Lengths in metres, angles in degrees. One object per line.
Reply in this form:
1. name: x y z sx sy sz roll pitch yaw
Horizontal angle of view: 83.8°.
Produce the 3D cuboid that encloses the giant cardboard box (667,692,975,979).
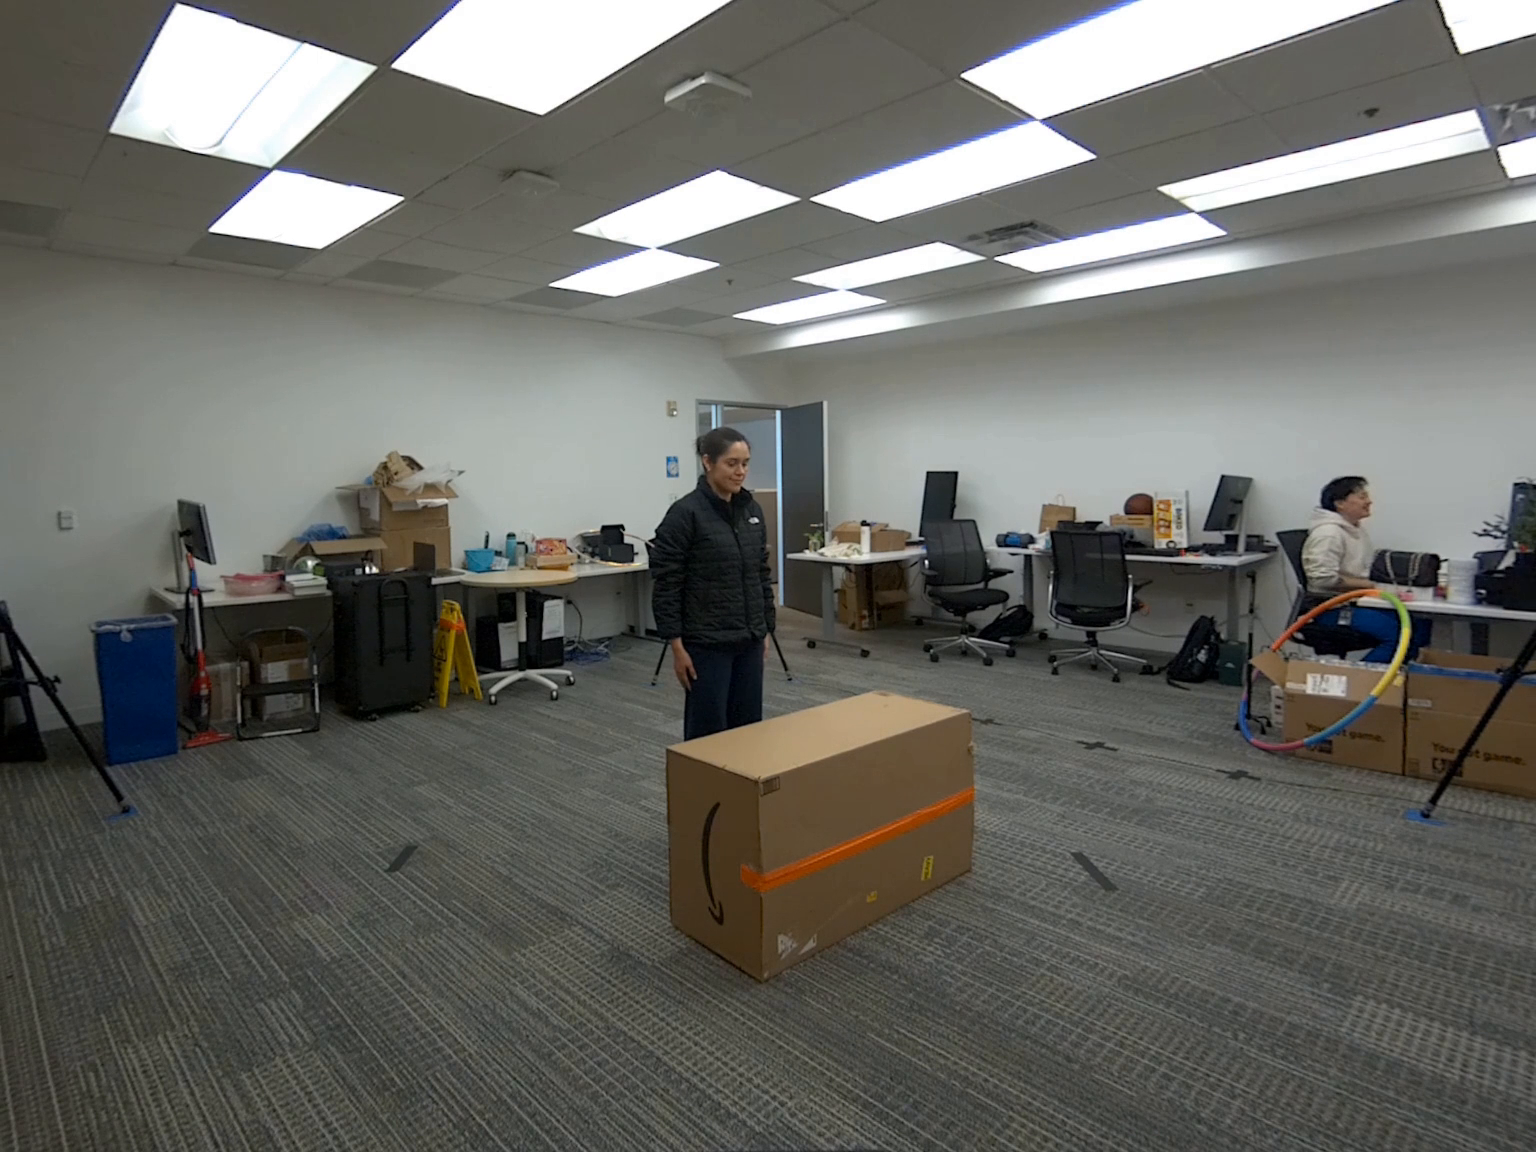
1. giant cardboard box: 0.209 0.786 2.841 1.000 0.582 0.460 -6 6 -41
